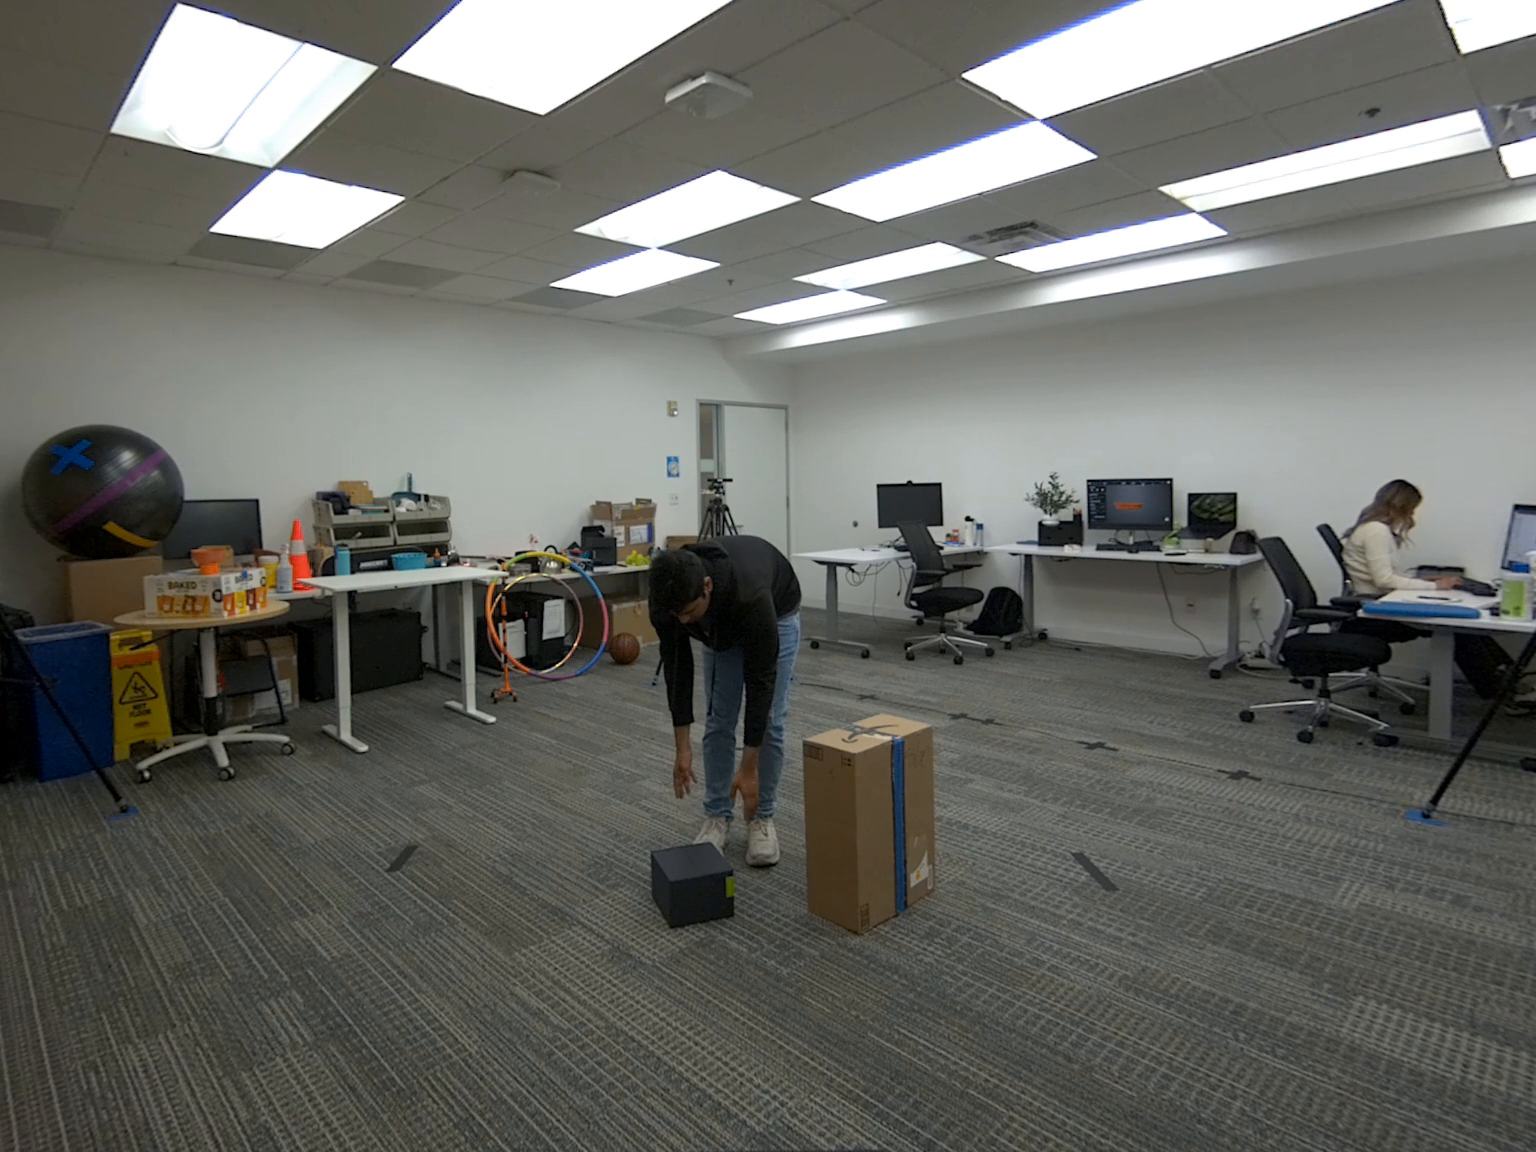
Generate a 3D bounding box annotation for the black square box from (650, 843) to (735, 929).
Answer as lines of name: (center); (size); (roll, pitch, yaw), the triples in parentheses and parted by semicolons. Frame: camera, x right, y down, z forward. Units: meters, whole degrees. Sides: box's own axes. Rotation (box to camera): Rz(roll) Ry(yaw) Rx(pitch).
black square box: (-0.245, 1.001, 2.793); (0.213, 0.155, 0.233); (-3, 6, -22)
